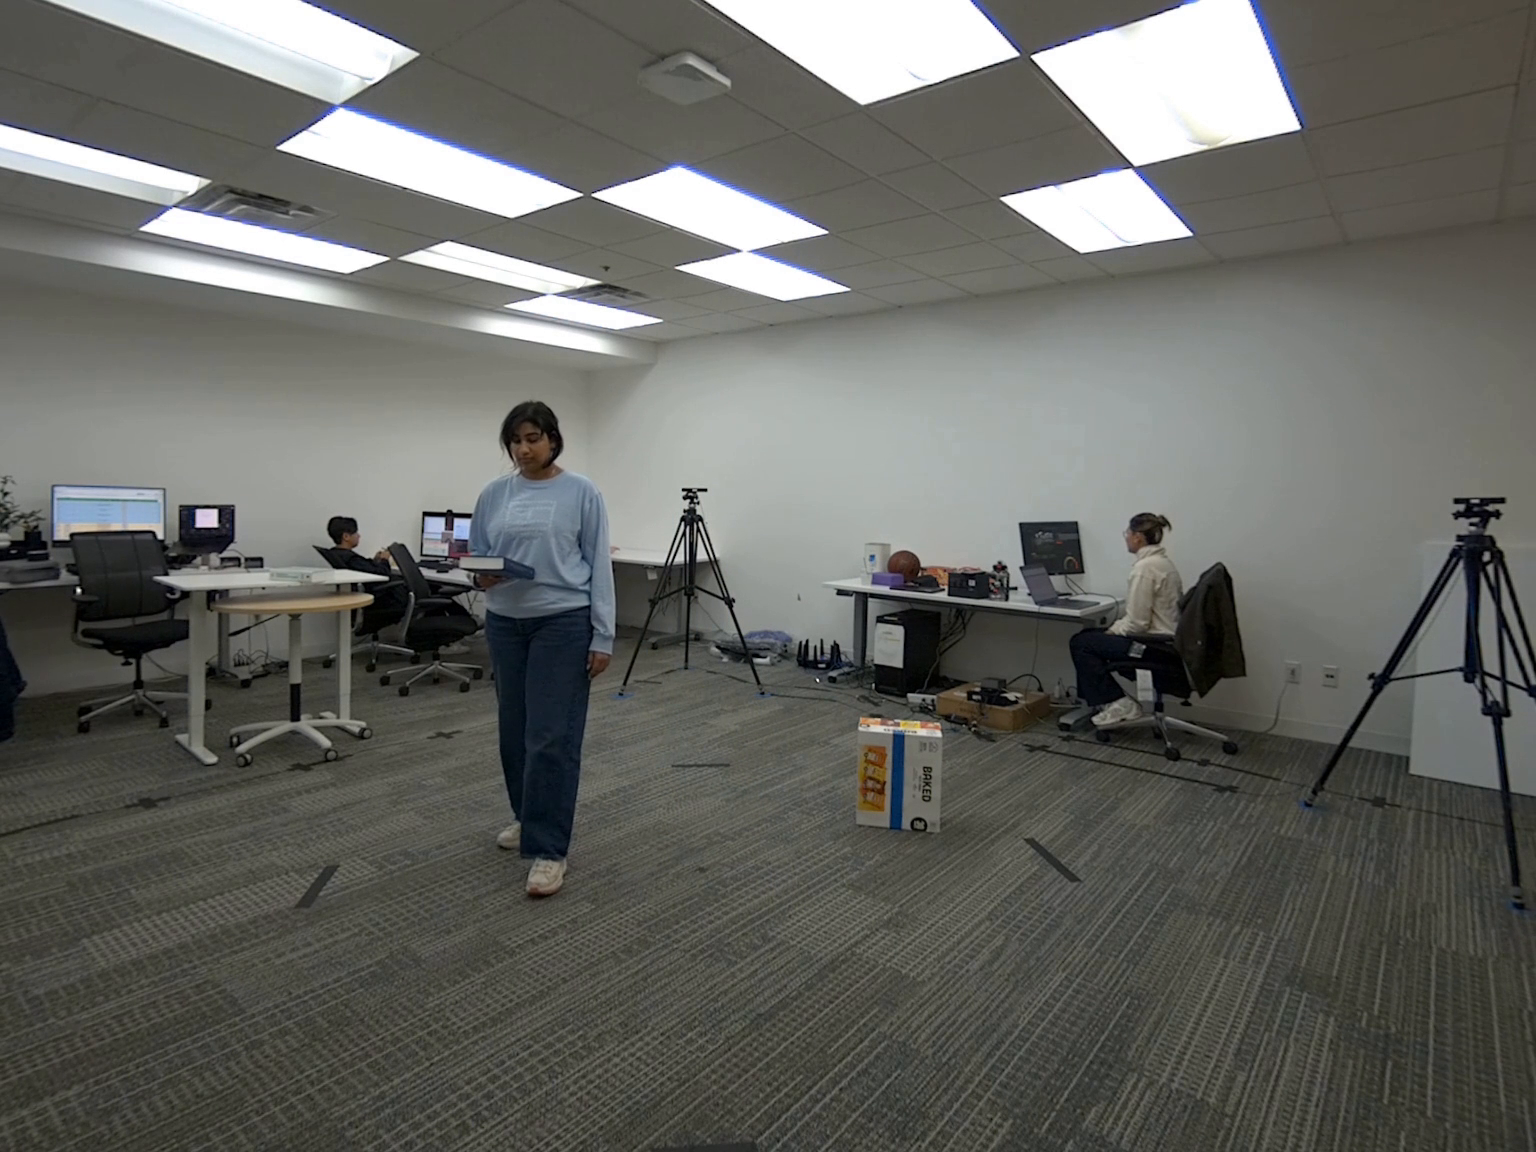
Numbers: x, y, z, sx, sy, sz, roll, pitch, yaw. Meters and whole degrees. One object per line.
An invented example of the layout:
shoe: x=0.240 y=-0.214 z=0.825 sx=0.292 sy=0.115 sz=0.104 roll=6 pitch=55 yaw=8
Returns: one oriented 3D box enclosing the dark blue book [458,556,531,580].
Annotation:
dark blue book: x=-0.941 y=-0.032 z=2.852 sx=0.163 sy=0.045 sz=0.243 roll=2 pitch=-8 yaw=-2
